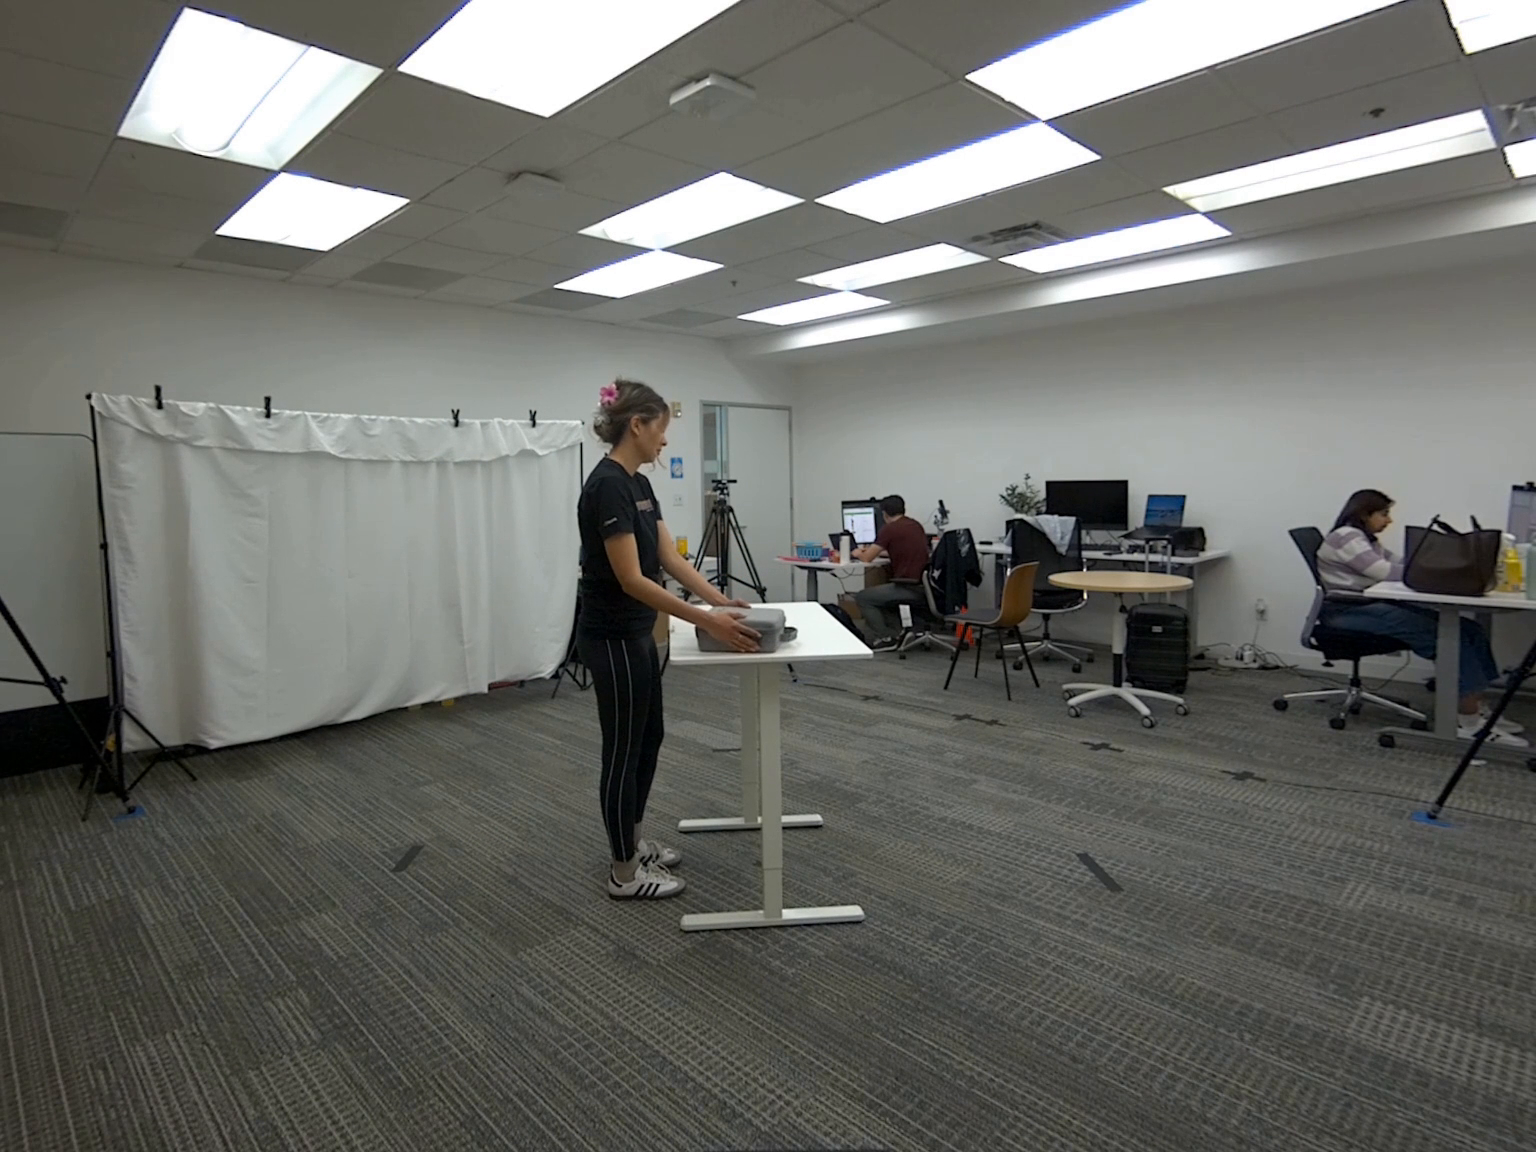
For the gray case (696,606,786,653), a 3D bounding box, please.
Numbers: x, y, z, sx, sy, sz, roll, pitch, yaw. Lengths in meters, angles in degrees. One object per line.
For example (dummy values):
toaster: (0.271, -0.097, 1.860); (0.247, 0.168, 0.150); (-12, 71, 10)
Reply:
gray case: (-0.074, 0.168, 2.682); (0.263, 0.104, 0.256); (1, 6, 8)
